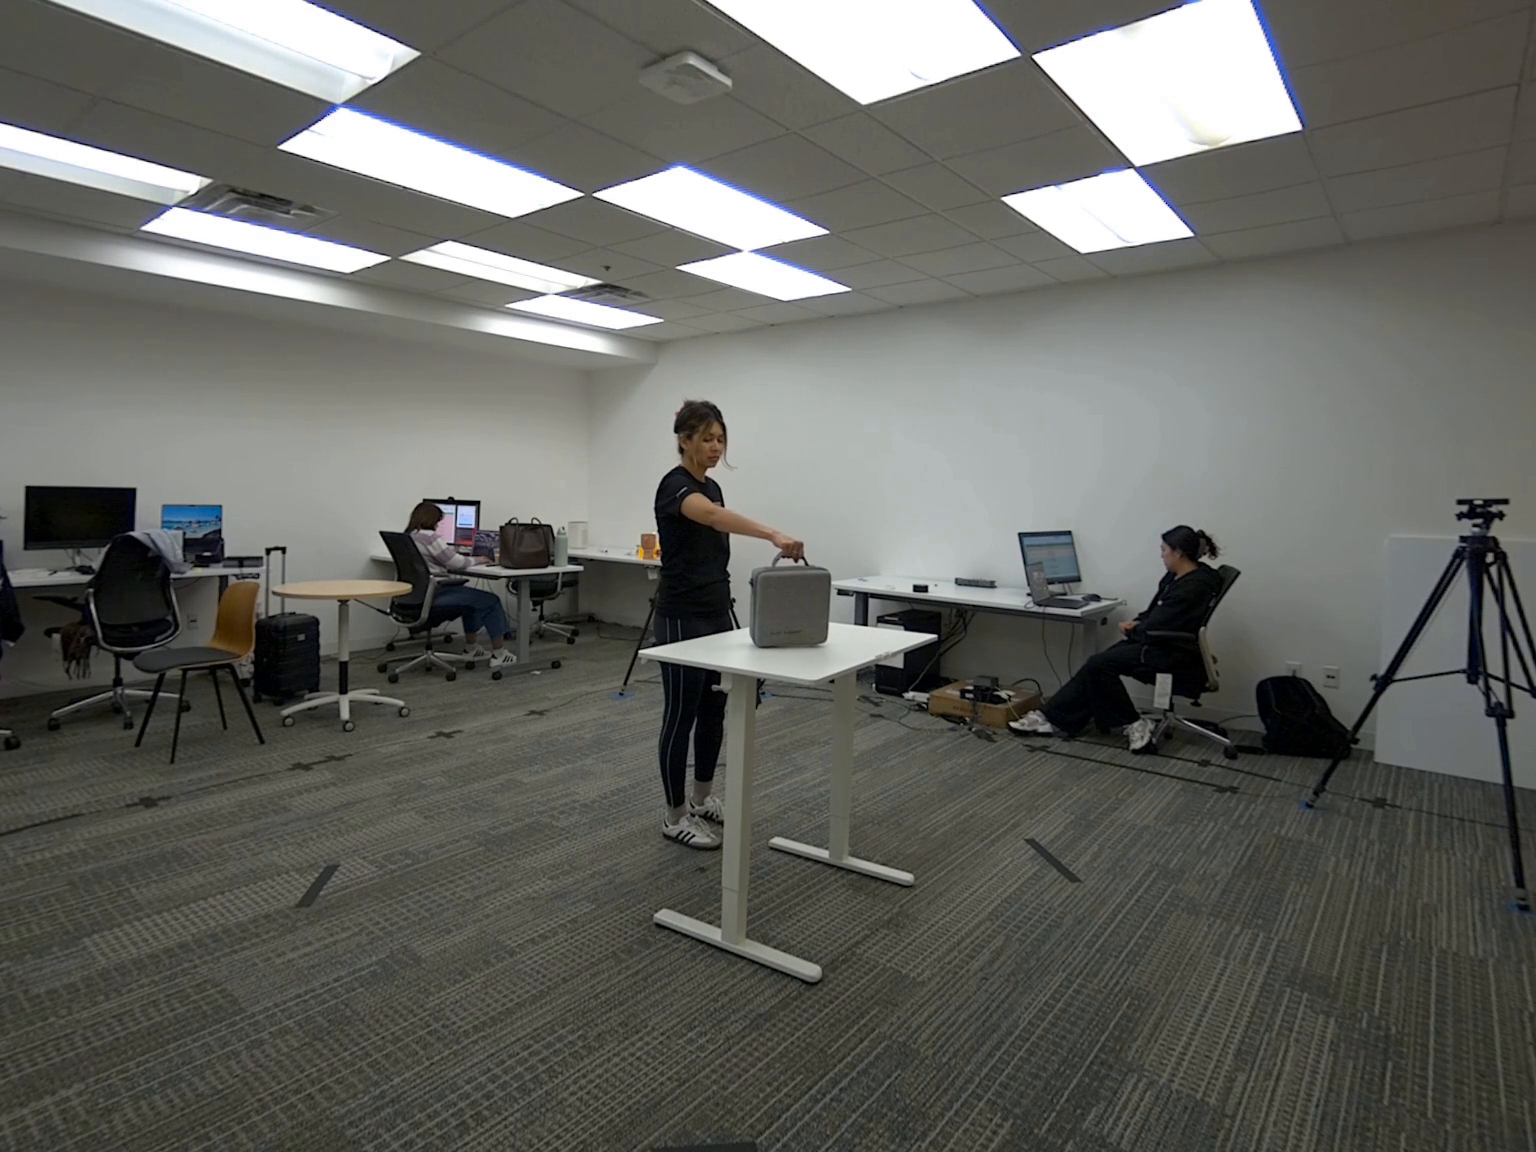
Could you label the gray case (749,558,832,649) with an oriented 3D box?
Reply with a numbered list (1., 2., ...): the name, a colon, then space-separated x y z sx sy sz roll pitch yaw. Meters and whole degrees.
1. gray case: 0.057 0.089 2.754 0.254 0.258 0.106 1 10 -9
